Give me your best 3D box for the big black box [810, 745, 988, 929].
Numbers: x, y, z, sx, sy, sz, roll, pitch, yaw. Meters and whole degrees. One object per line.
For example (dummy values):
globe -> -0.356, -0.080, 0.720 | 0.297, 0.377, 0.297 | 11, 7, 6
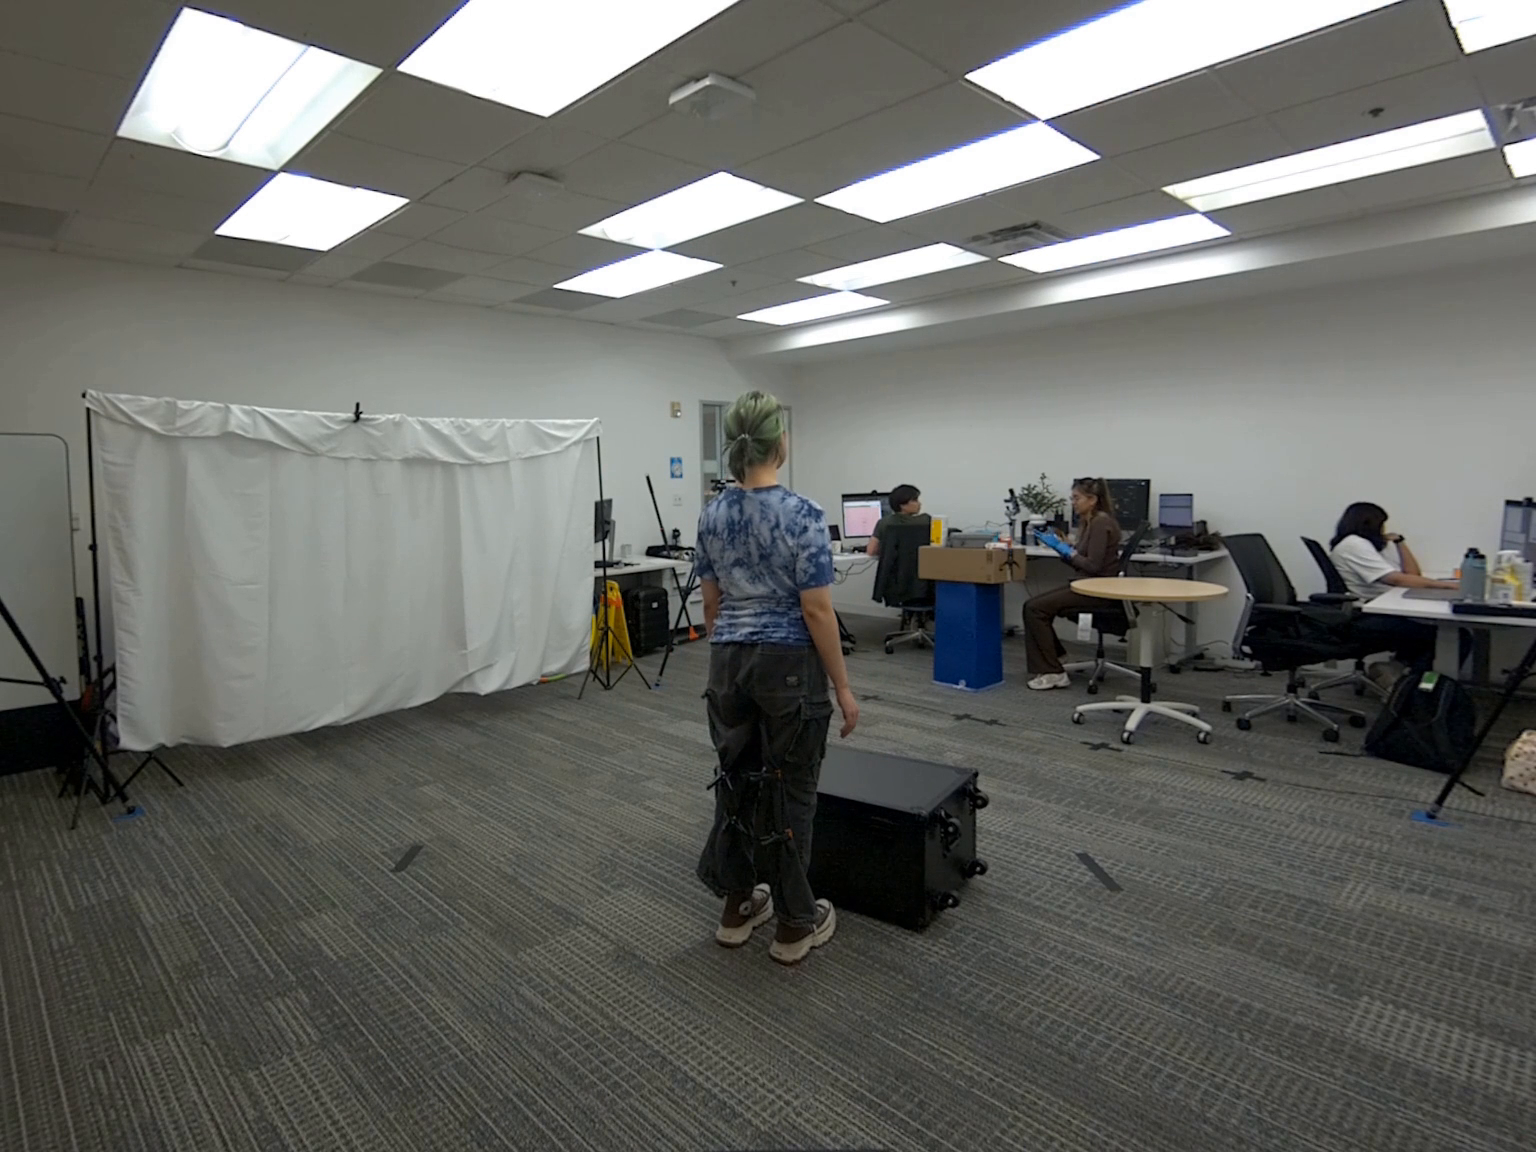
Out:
big black box -> 0.301, 0.865, 2.985 | 0.885, 0.395, 0.509 | 2, 6, 34
